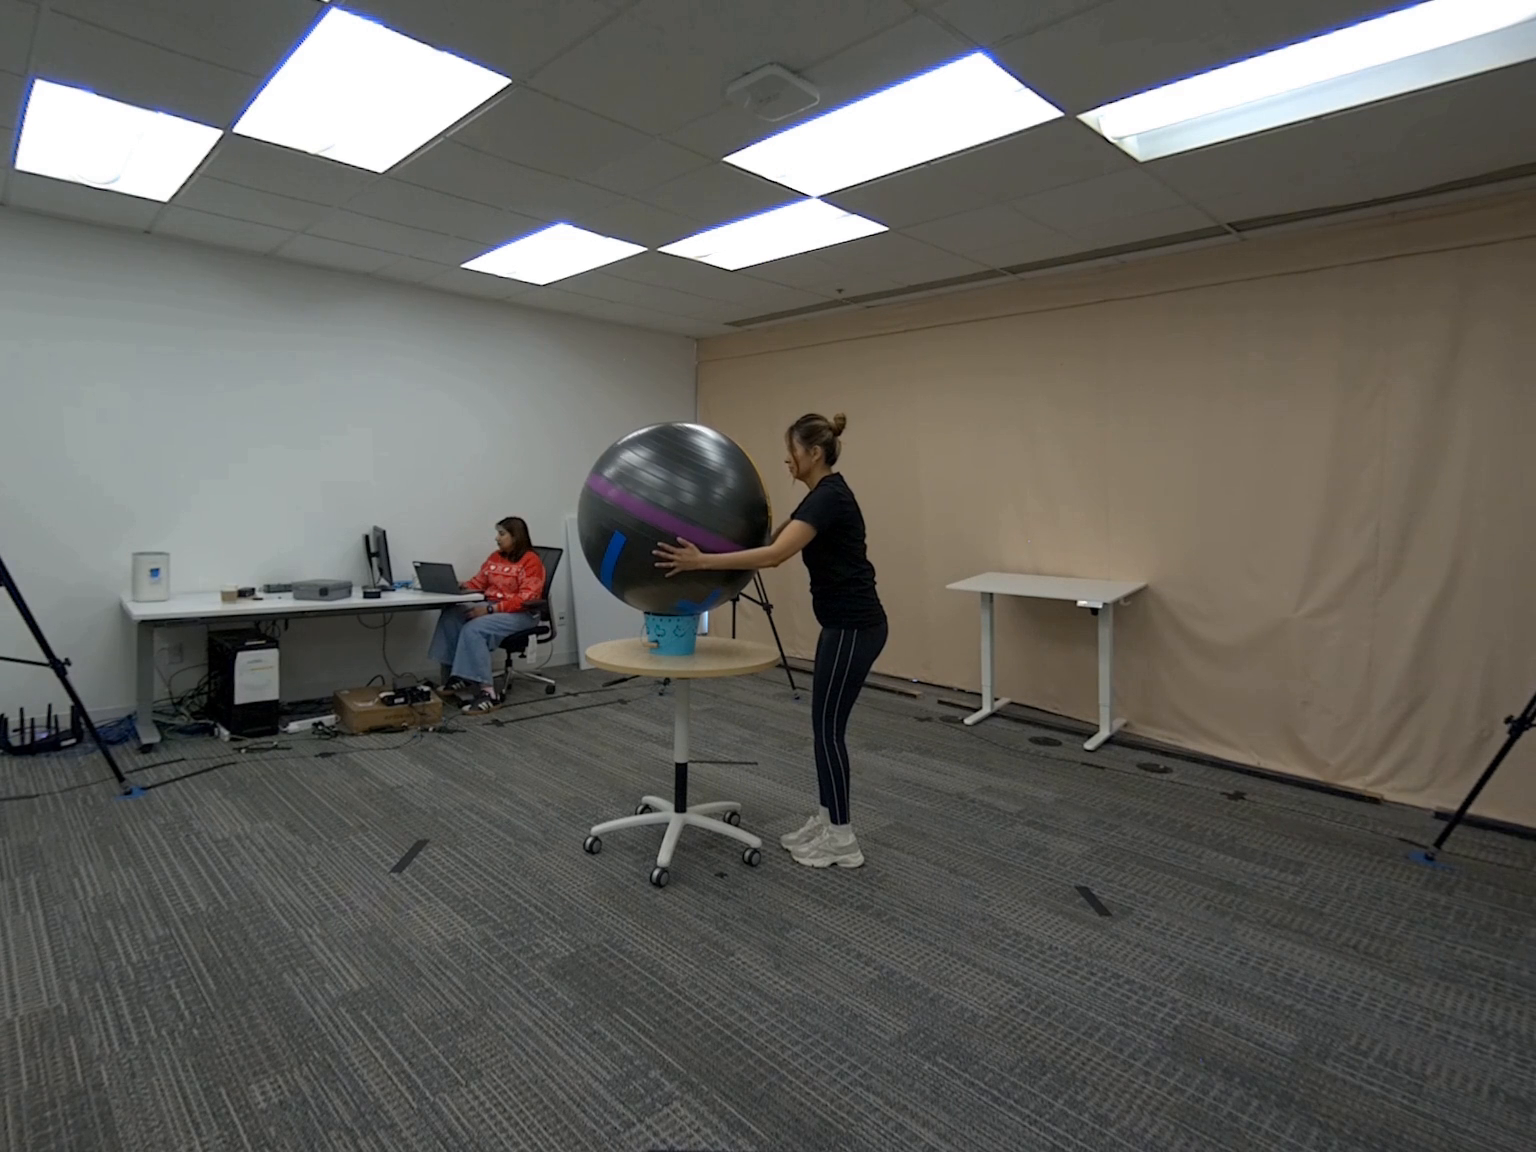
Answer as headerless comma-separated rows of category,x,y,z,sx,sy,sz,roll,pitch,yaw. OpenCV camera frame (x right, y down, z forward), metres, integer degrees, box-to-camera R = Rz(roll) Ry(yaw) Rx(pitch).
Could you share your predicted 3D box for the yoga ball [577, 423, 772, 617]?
yoga ball,-0.379,-0.216,3.296,0.757,0.756,0.761,1,4,-1
